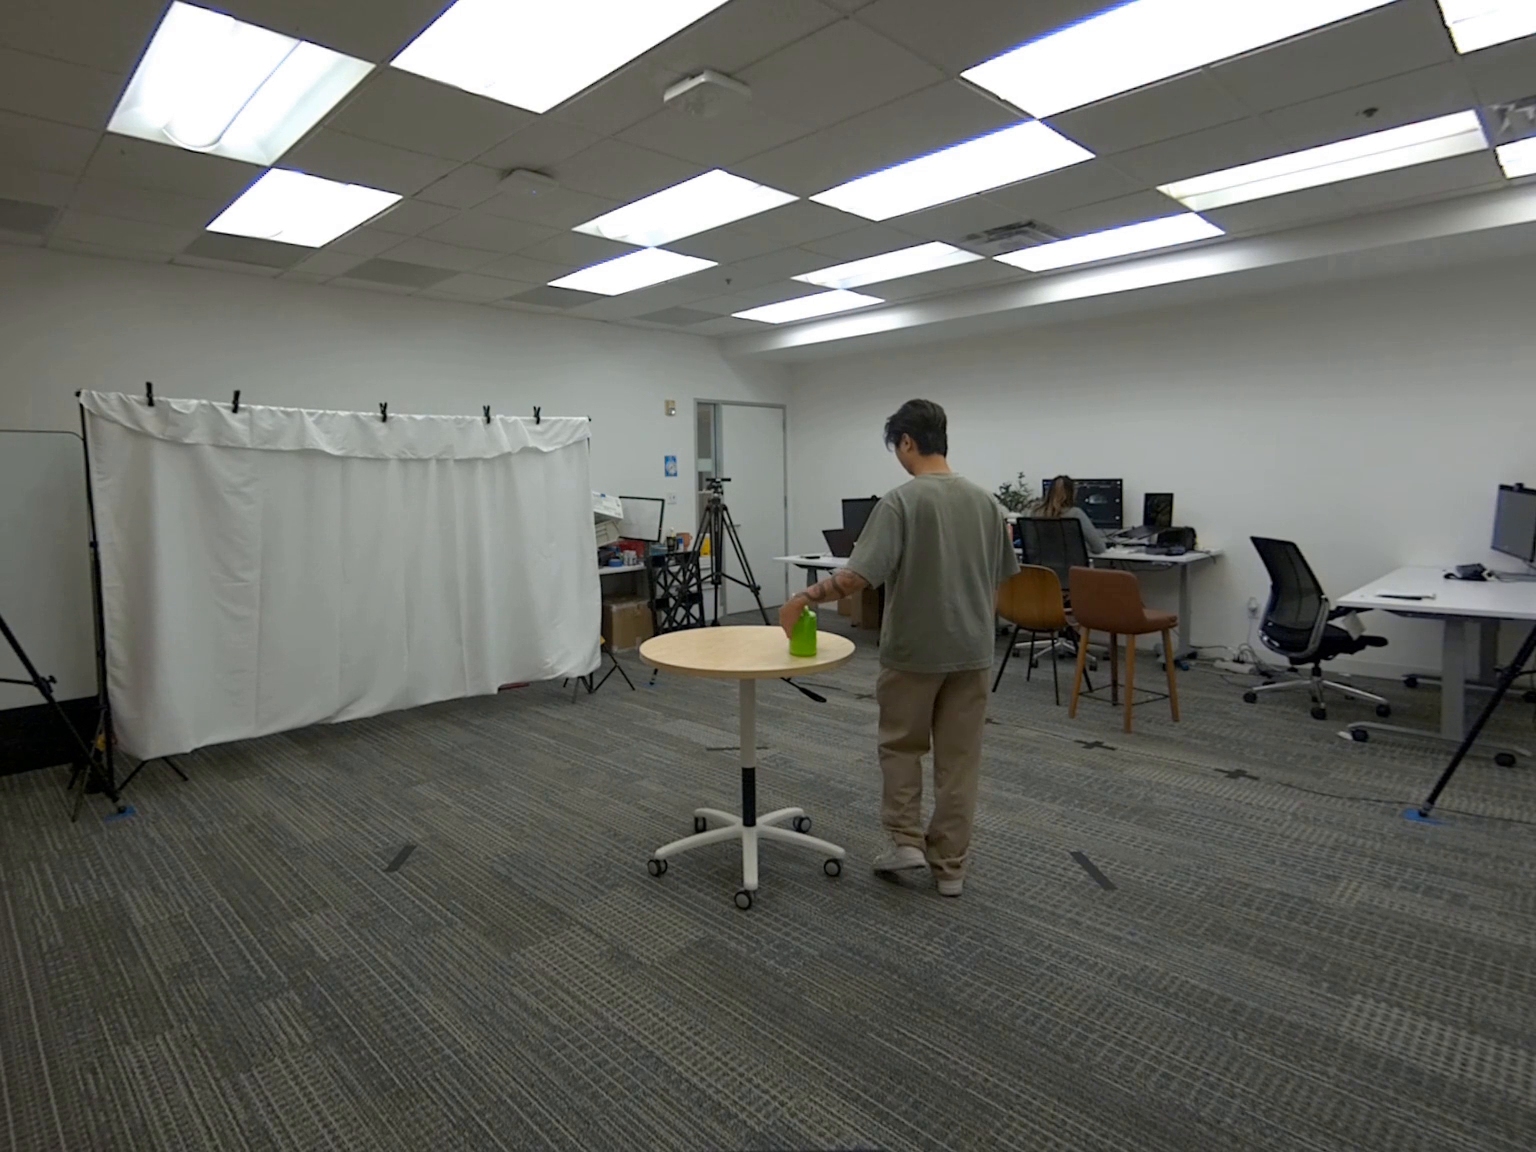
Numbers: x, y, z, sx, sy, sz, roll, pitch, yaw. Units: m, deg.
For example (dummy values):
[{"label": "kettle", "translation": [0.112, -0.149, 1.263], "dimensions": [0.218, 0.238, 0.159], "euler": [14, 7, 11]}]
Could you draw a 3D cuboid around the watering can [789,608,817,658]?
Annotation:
[{"label": "watering can", "translation": [0.136, 0.177, 2.963], "dimensions": [0.099, 0.176, 0.275], "euler": [2, 5, 12]}]
